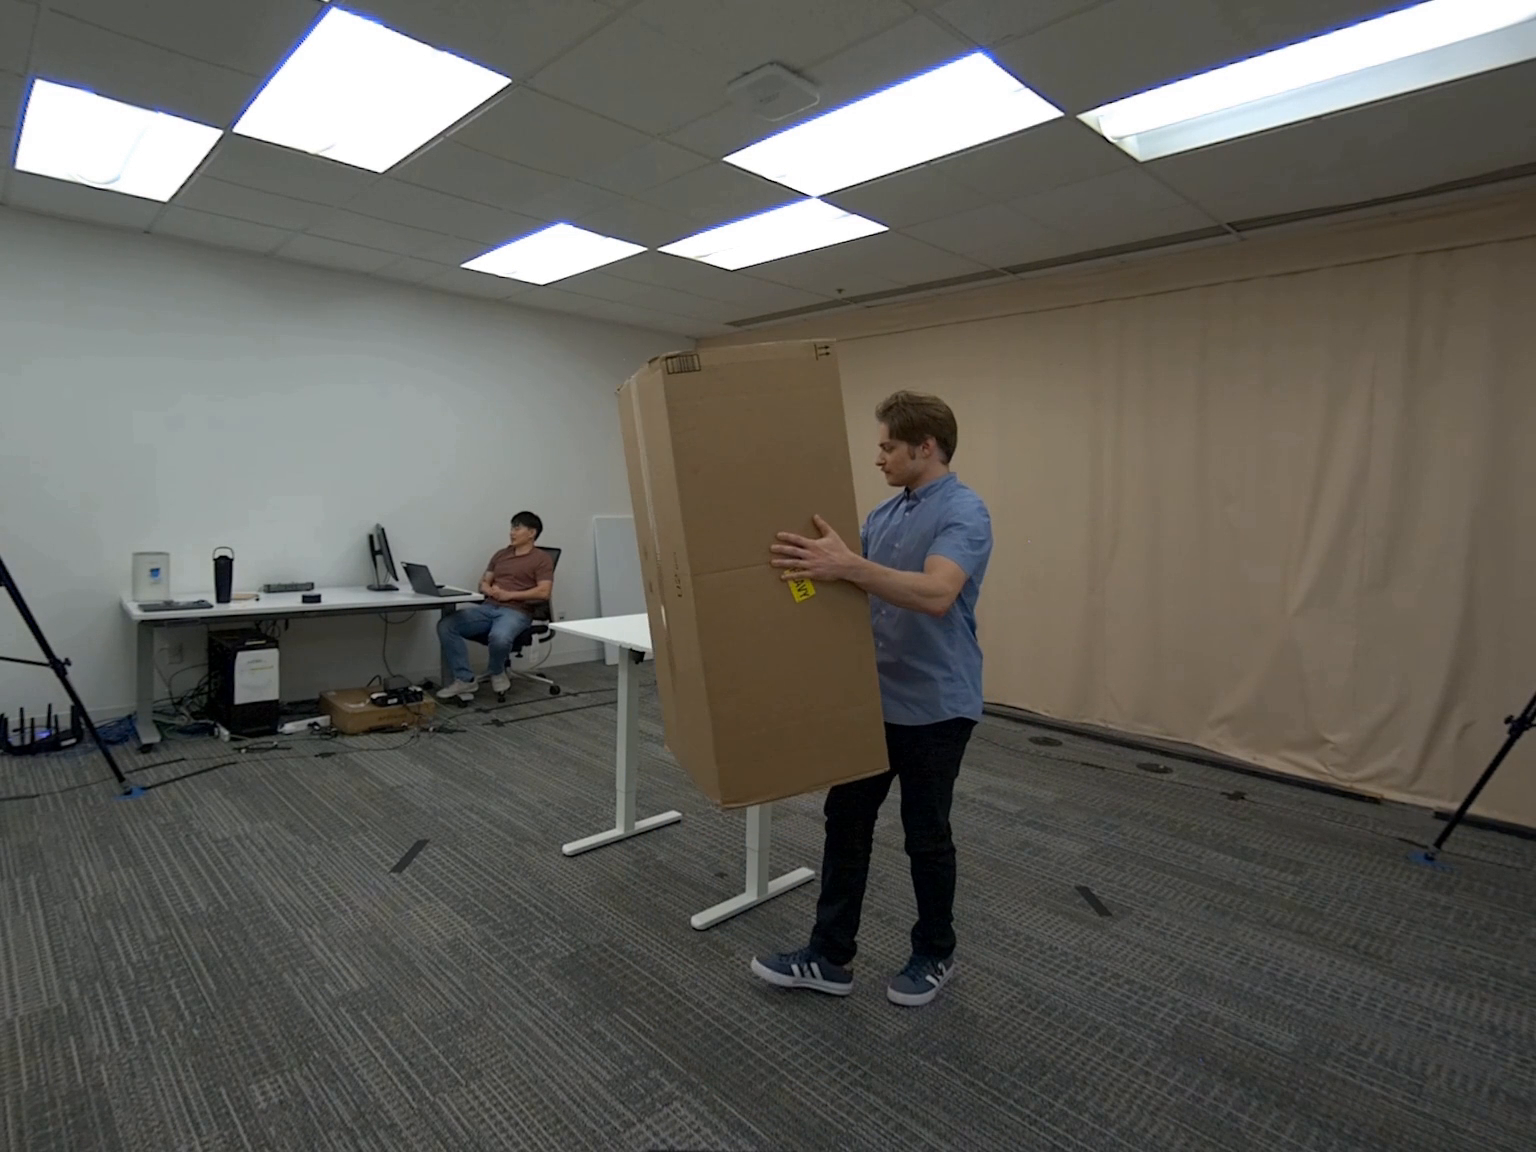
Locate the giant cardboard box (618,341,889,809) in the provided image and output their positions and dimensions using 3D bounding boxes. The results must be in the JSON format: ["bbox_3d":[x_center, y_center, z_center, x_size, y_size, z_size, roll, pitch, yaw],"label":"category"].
[{"bbox_3d":[-0.081,-0.029,2.161,0.421,1.023,0.585,-8,4,-17],"label":"giant cardboard box"}]
